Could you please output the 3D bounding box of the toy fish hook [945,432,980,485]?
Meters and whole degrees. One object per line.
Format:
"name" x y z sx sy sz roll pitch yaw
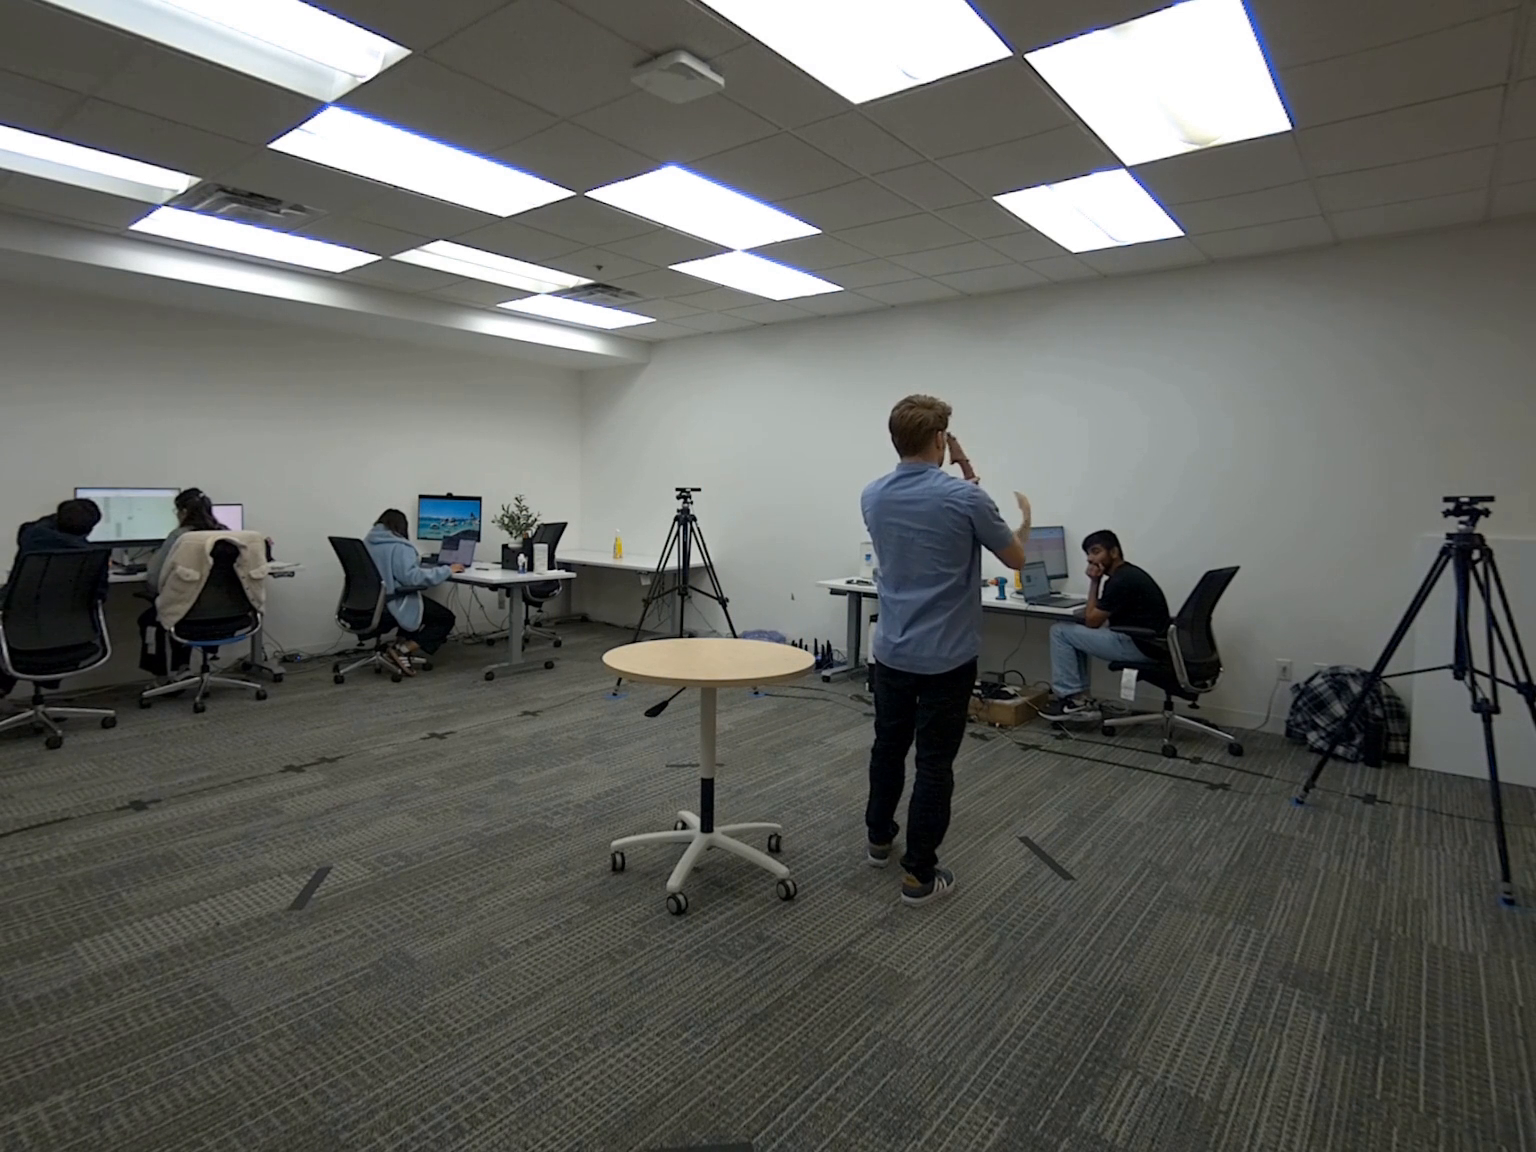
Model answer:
"toy fish hook" 0.830 -0.347 3.254 0.227 0.512 0.047 -23 -8 22
